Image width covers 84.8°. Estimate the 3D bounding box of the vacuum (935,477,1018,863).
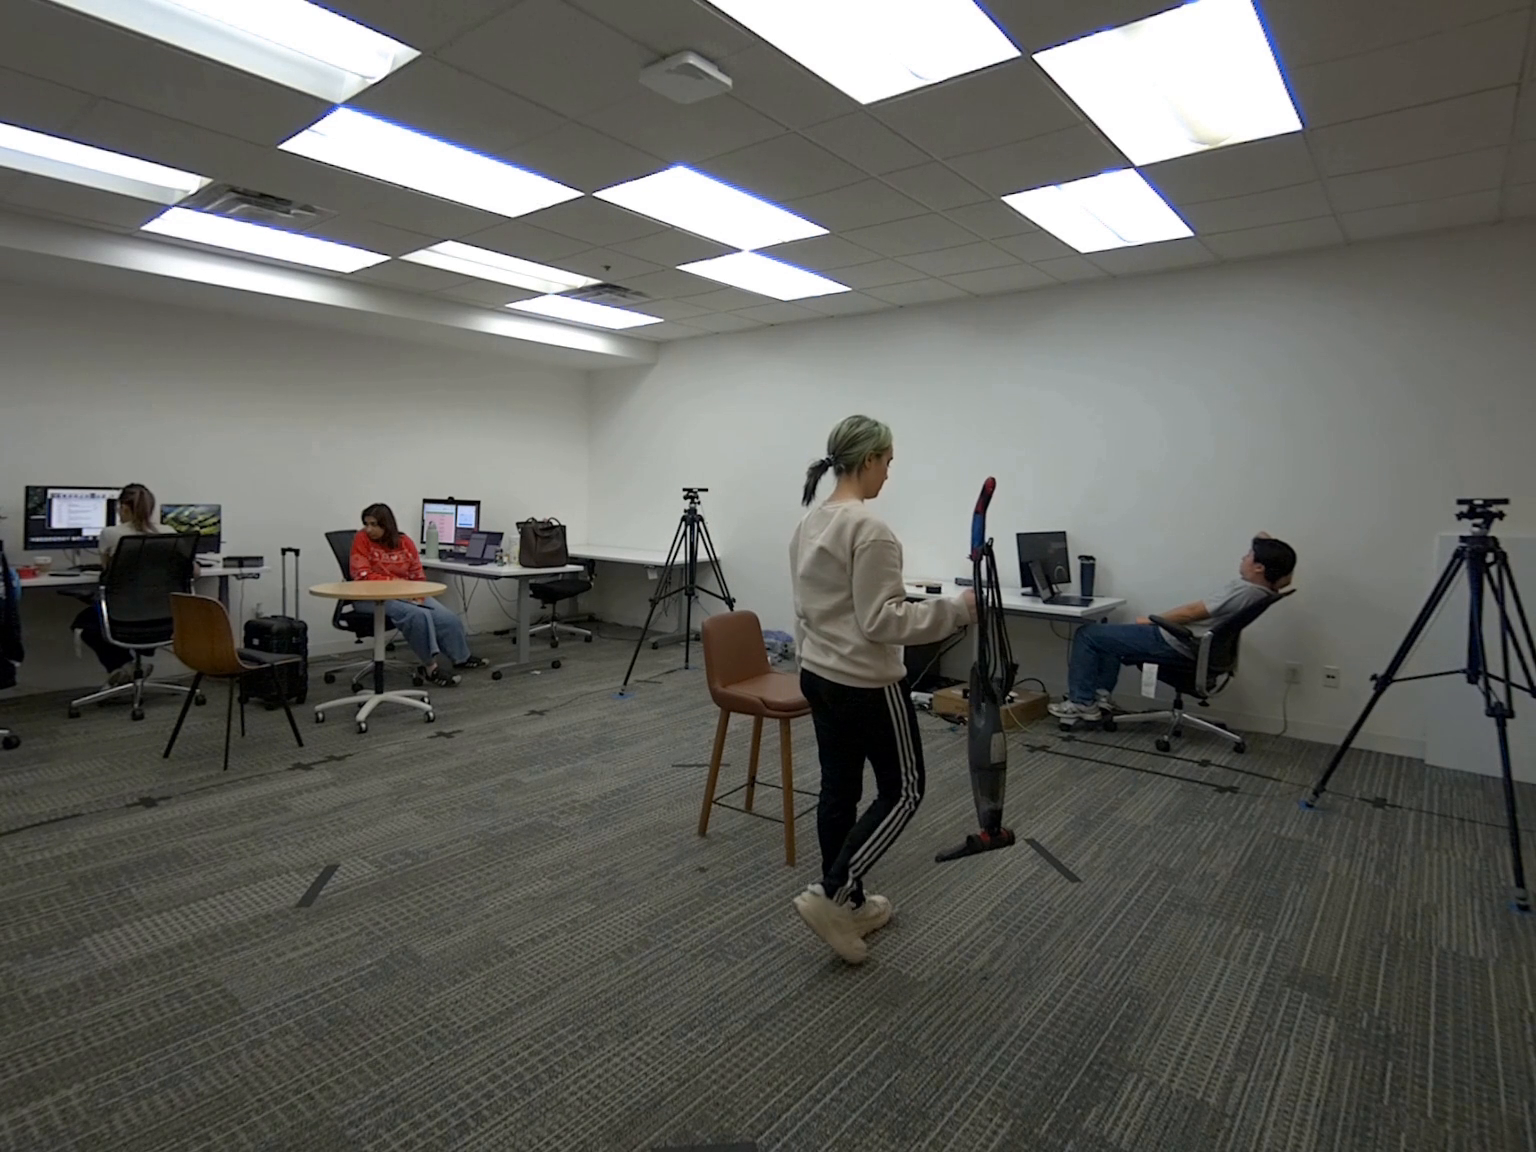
[{"bbox_3d":[0.606,0.260,2.359,0.246,1.041,0.149,-4,9,-30],"label":"vacuum"}]
